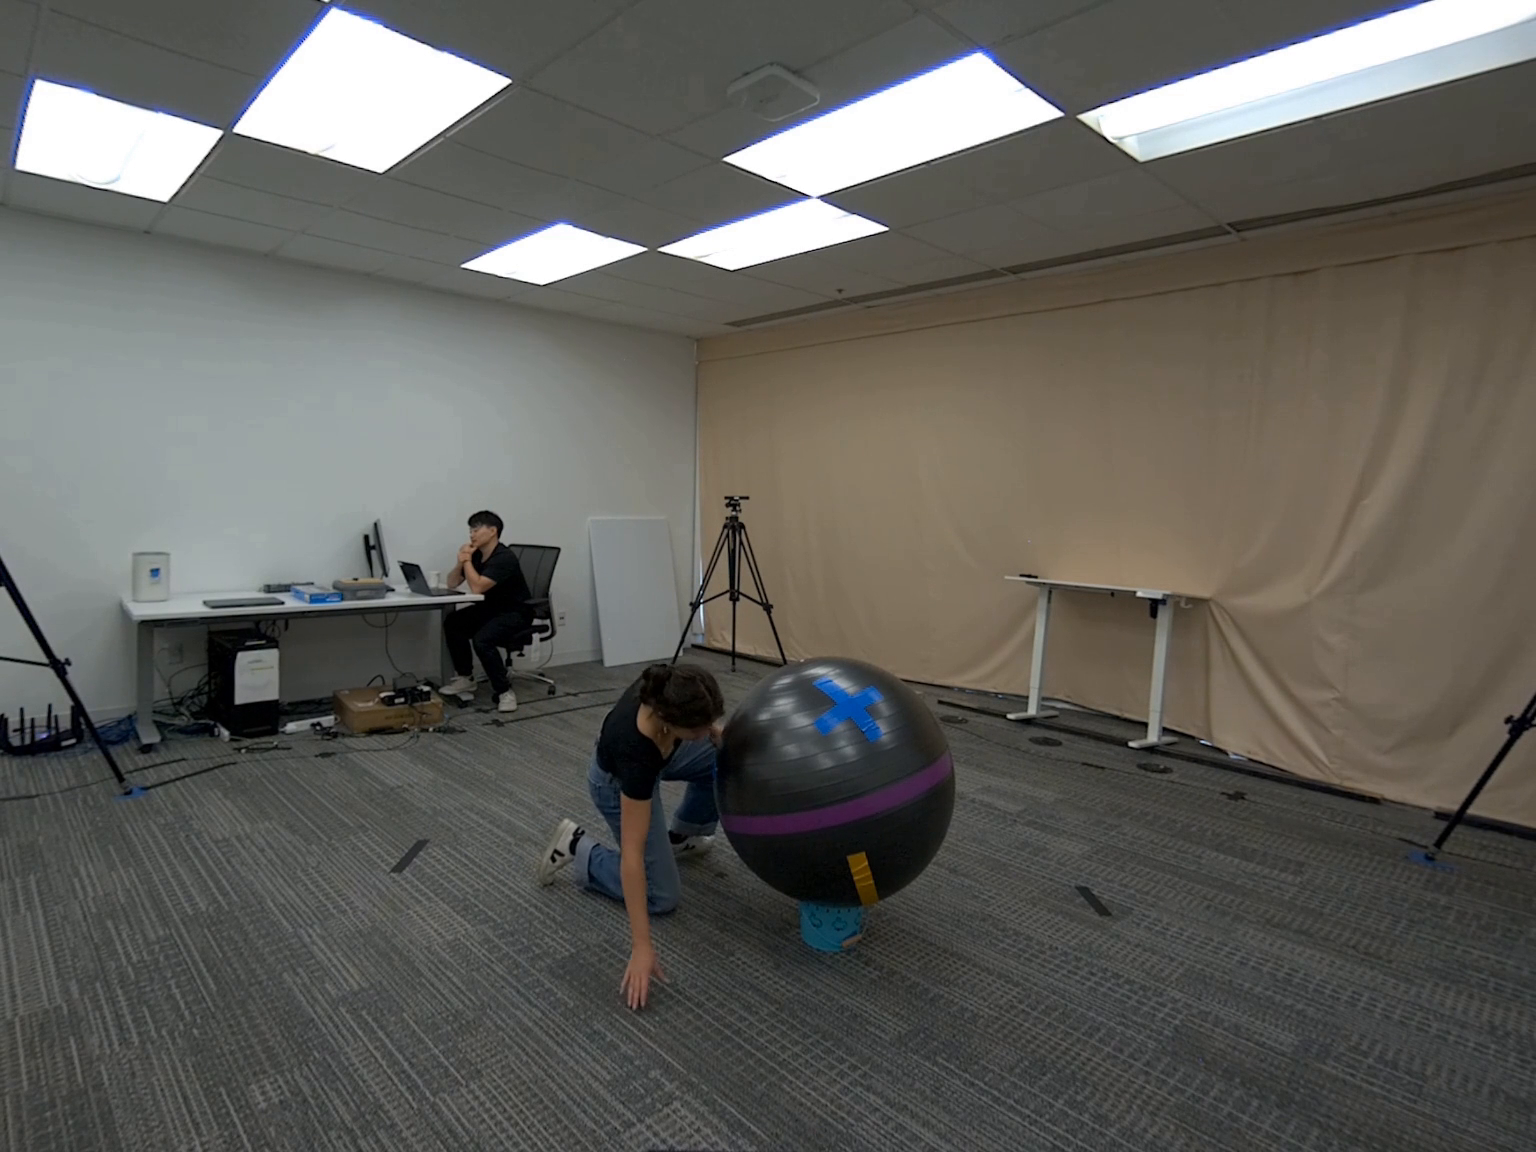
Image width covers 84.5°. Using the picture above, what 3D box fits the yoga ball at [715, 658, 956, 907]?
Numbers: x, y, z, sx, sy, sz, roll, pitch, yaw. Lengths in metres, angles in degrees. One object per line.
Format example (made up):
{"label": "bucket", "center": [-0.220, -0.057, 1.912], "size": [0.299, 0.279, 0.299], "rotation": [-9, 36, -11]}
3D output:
{"label": "yoga ball", "center": [0.202, 0.644, 2.654], "size": [0.757, 0.756, 0.761], "rotation": [1, 4, -1]}
